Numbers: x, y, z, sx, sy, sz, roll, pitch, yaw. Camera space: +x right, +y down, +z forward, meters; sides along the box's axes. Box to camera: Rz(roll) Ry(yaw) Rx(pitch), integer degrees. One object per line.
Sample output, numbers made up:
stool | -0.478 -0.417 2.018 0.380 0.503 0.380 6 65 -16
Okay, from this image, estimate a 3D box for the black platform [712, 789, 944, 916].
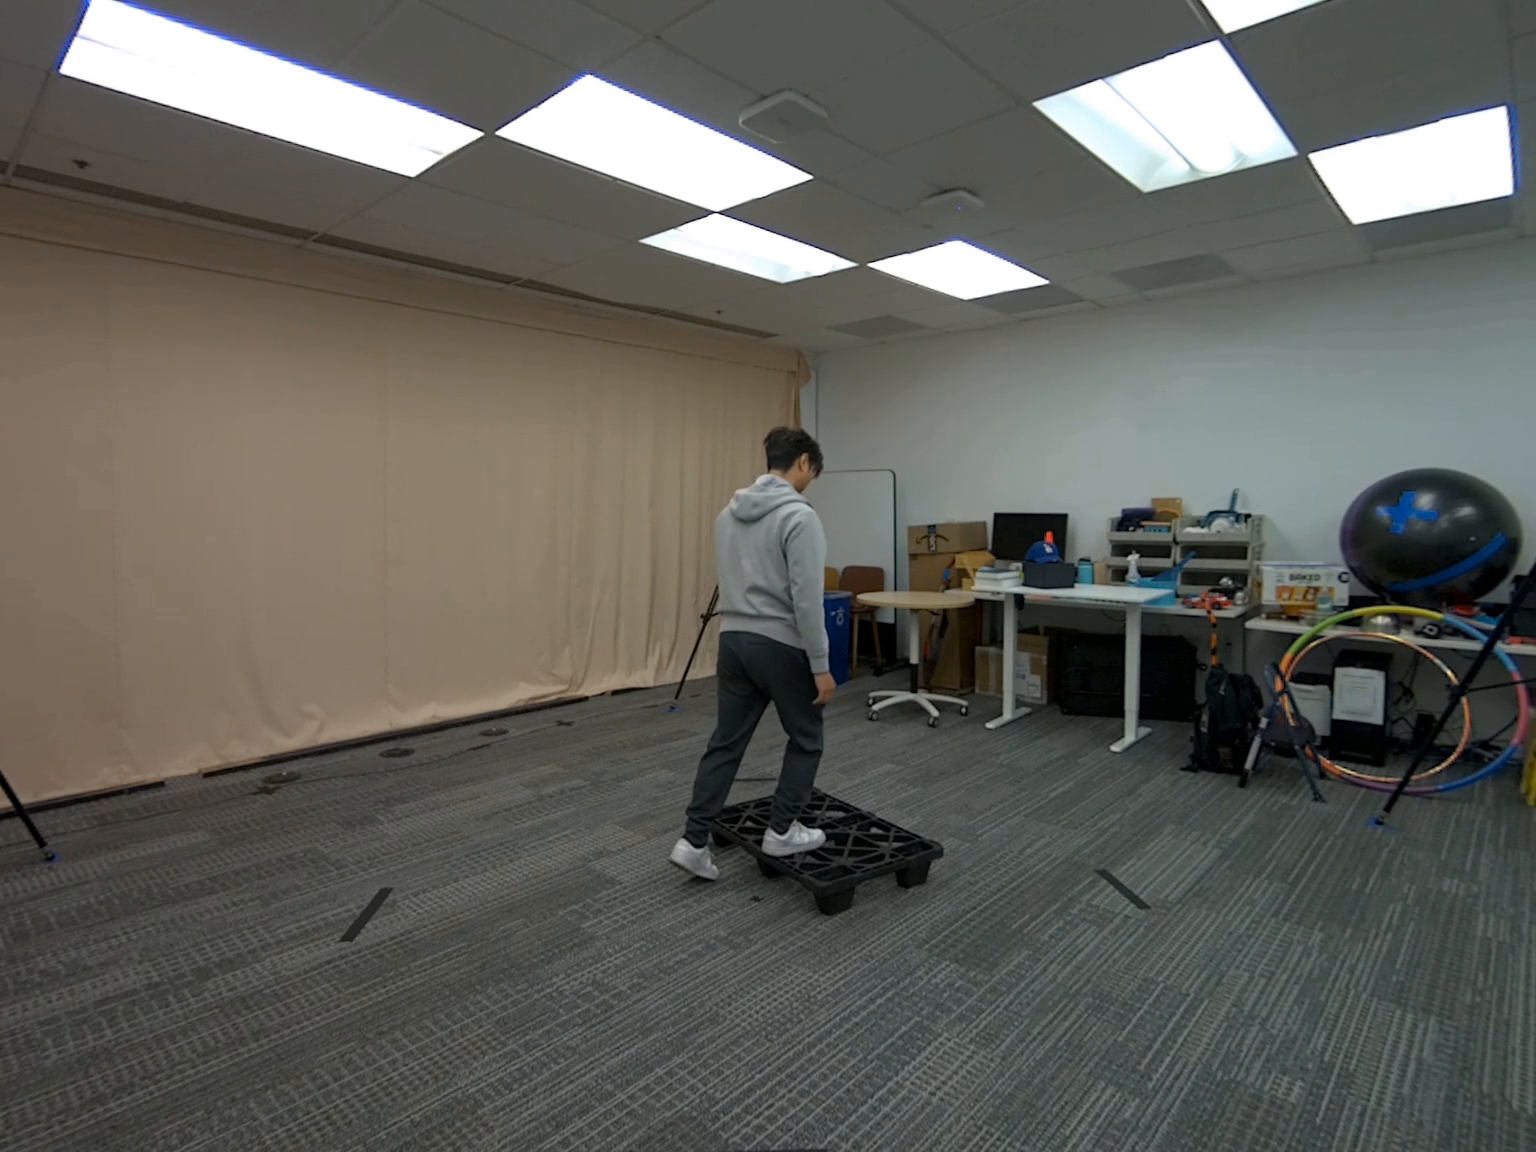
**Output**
black platform | 0.183 1.052 3.276 0.588 0.143 0.831 -4 6 -34
